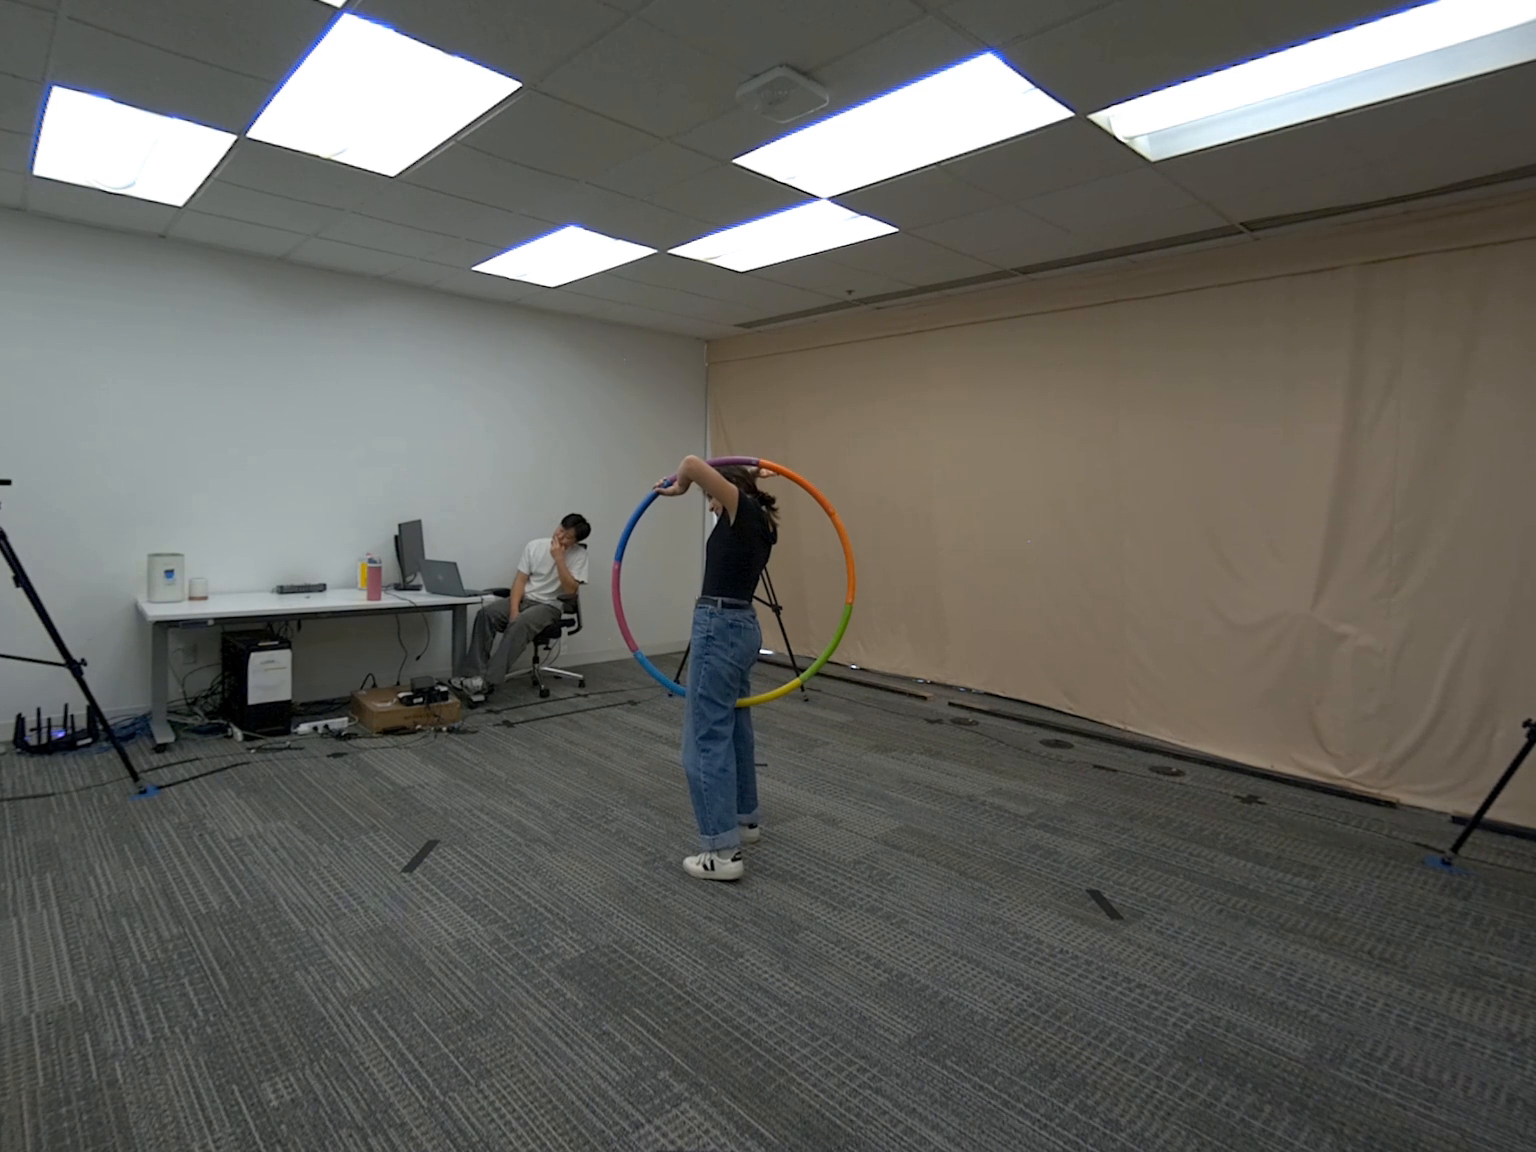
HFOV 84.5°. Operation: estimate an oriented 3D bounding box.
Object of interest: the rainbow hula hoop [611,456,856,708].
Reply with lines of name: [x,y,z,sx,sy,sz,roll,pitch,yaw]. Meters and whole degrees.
rainbow hula hoop: [-0.134,0.018,3.345,0.972,0.978,0.036,1,1,-7]
